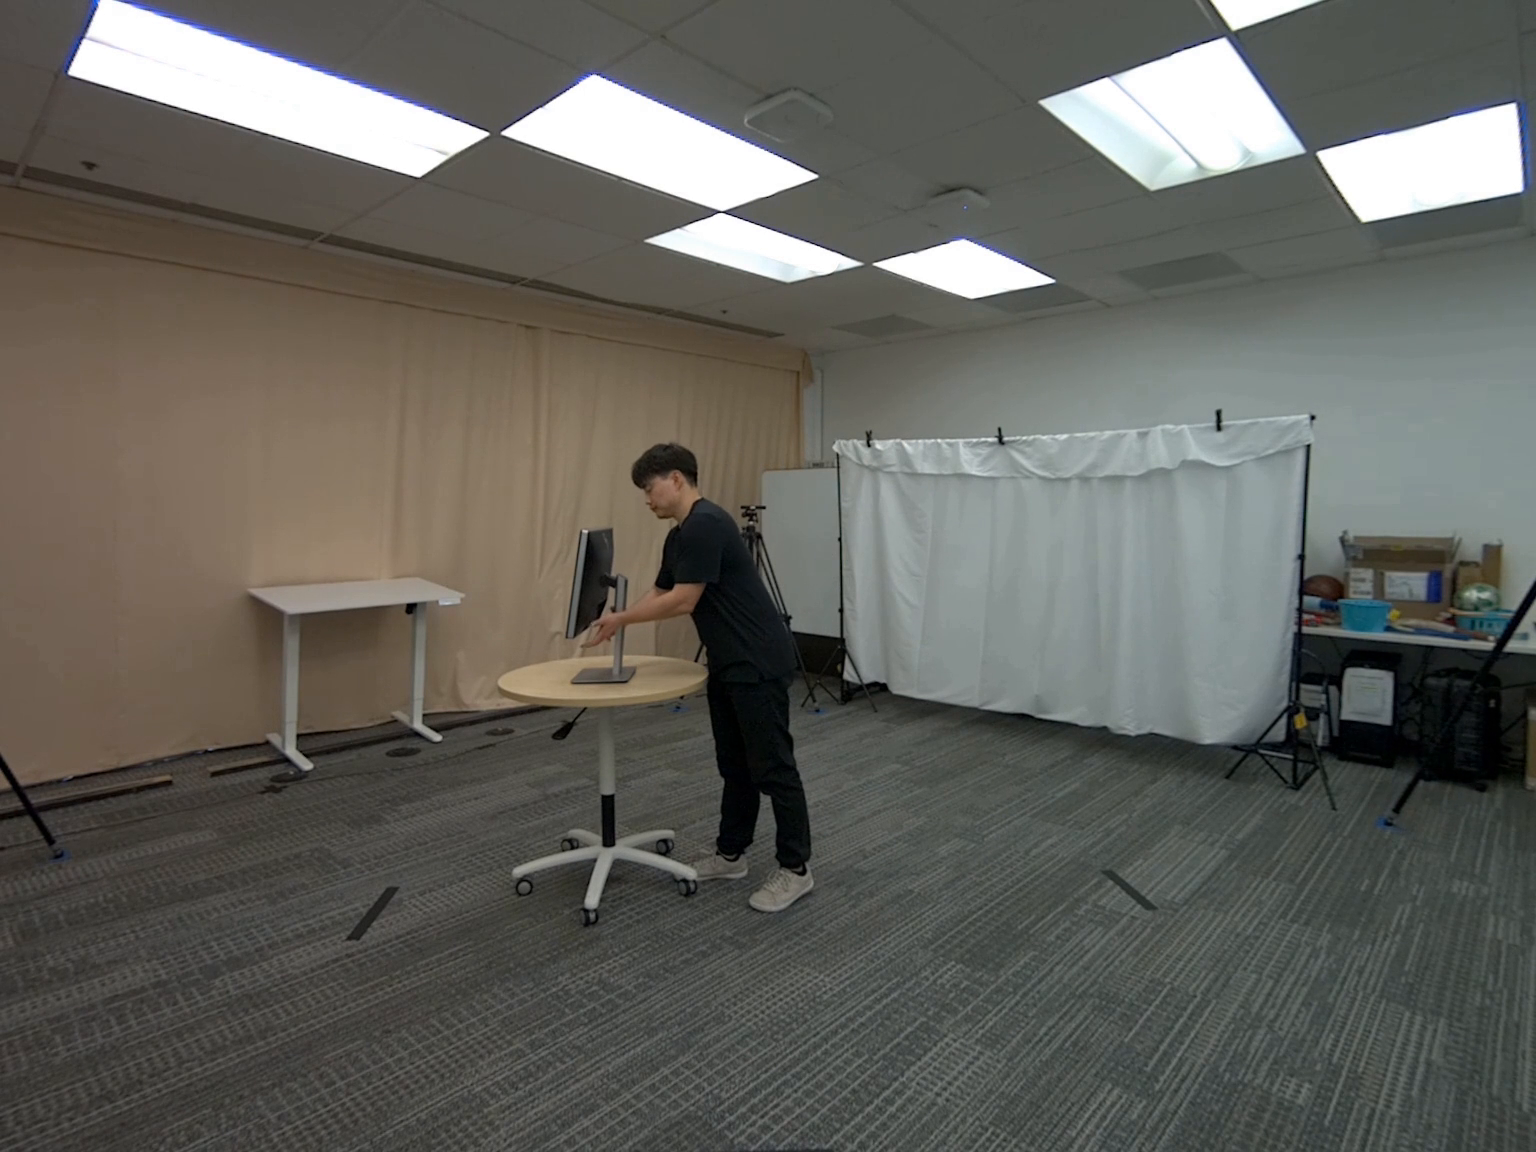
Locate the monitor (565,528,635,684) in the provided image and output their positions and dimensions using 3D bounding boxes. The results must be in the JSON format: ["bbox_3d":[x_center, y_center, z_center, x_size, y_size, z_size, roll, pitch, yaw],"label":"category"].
[{"bbox_3d":[-0.594,0.105,3.045,0.187,0.521,0.541,-2,3,-3],"label":"monitor"}]
